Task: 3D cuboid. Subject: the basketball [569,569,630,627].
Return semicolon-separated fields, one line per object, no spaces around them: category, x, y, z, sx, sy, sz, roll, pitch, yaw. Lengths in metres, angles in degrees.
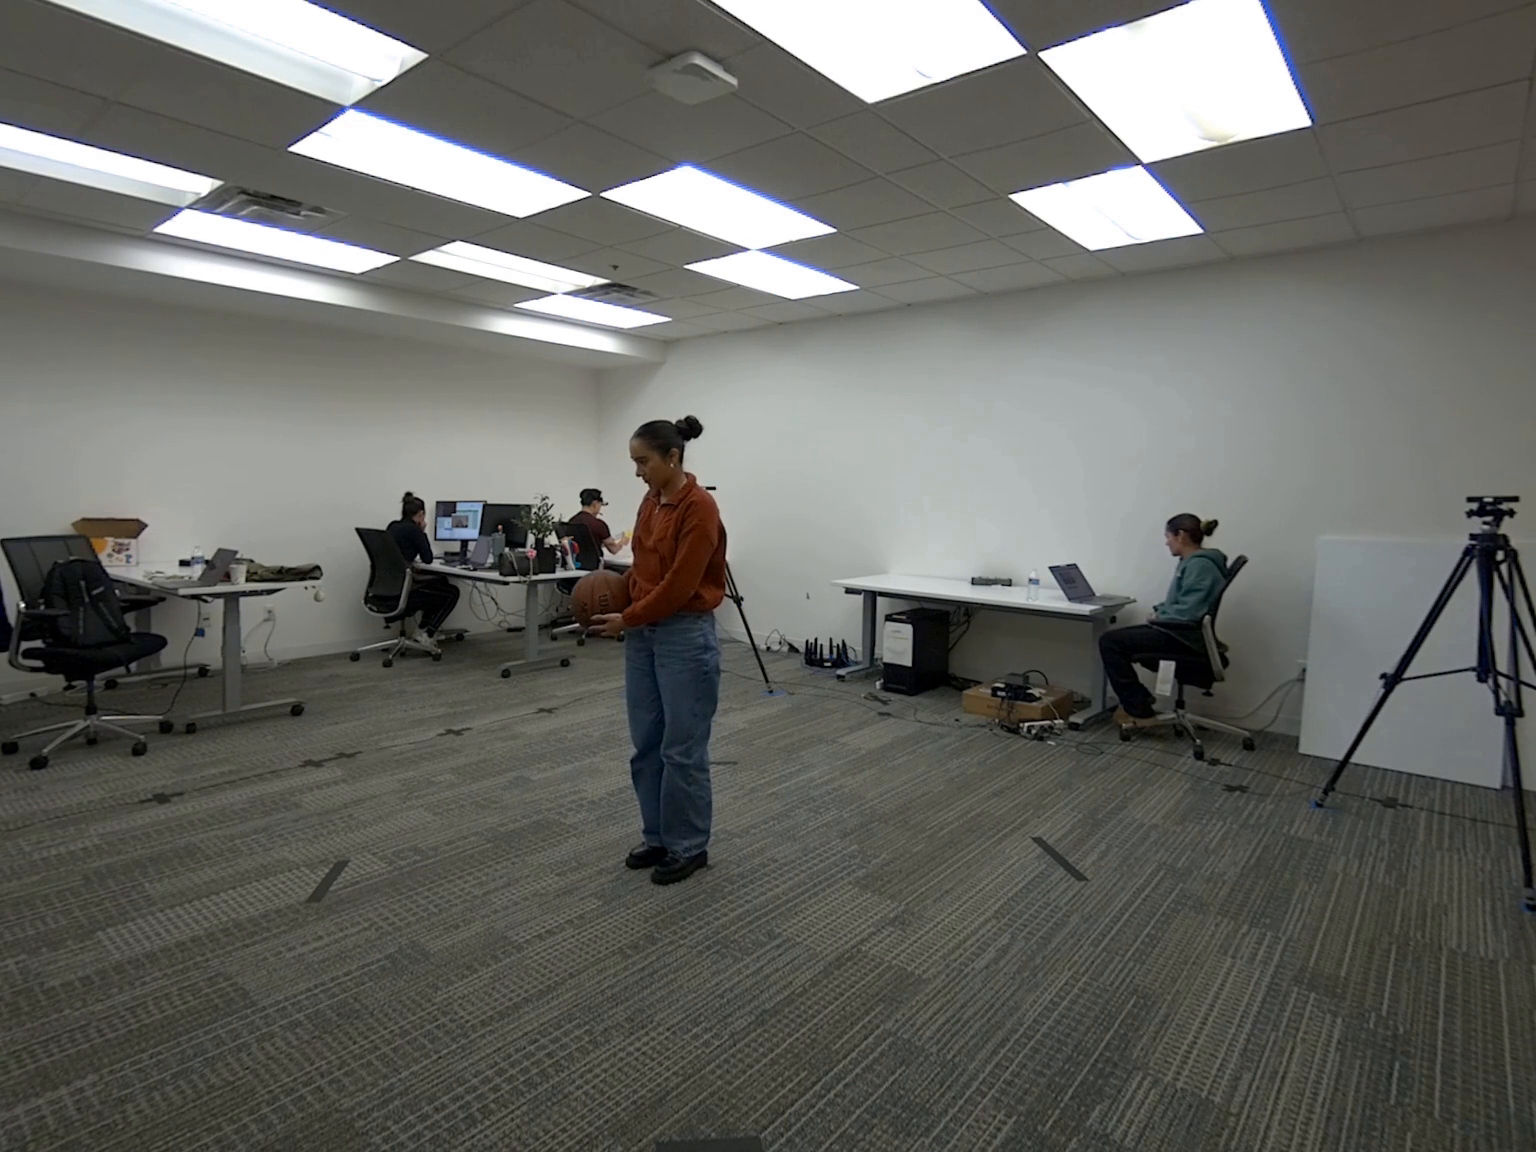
basketball;-0.622;0.085;3.135;0.235;0.235;0.237;1;4;-2
